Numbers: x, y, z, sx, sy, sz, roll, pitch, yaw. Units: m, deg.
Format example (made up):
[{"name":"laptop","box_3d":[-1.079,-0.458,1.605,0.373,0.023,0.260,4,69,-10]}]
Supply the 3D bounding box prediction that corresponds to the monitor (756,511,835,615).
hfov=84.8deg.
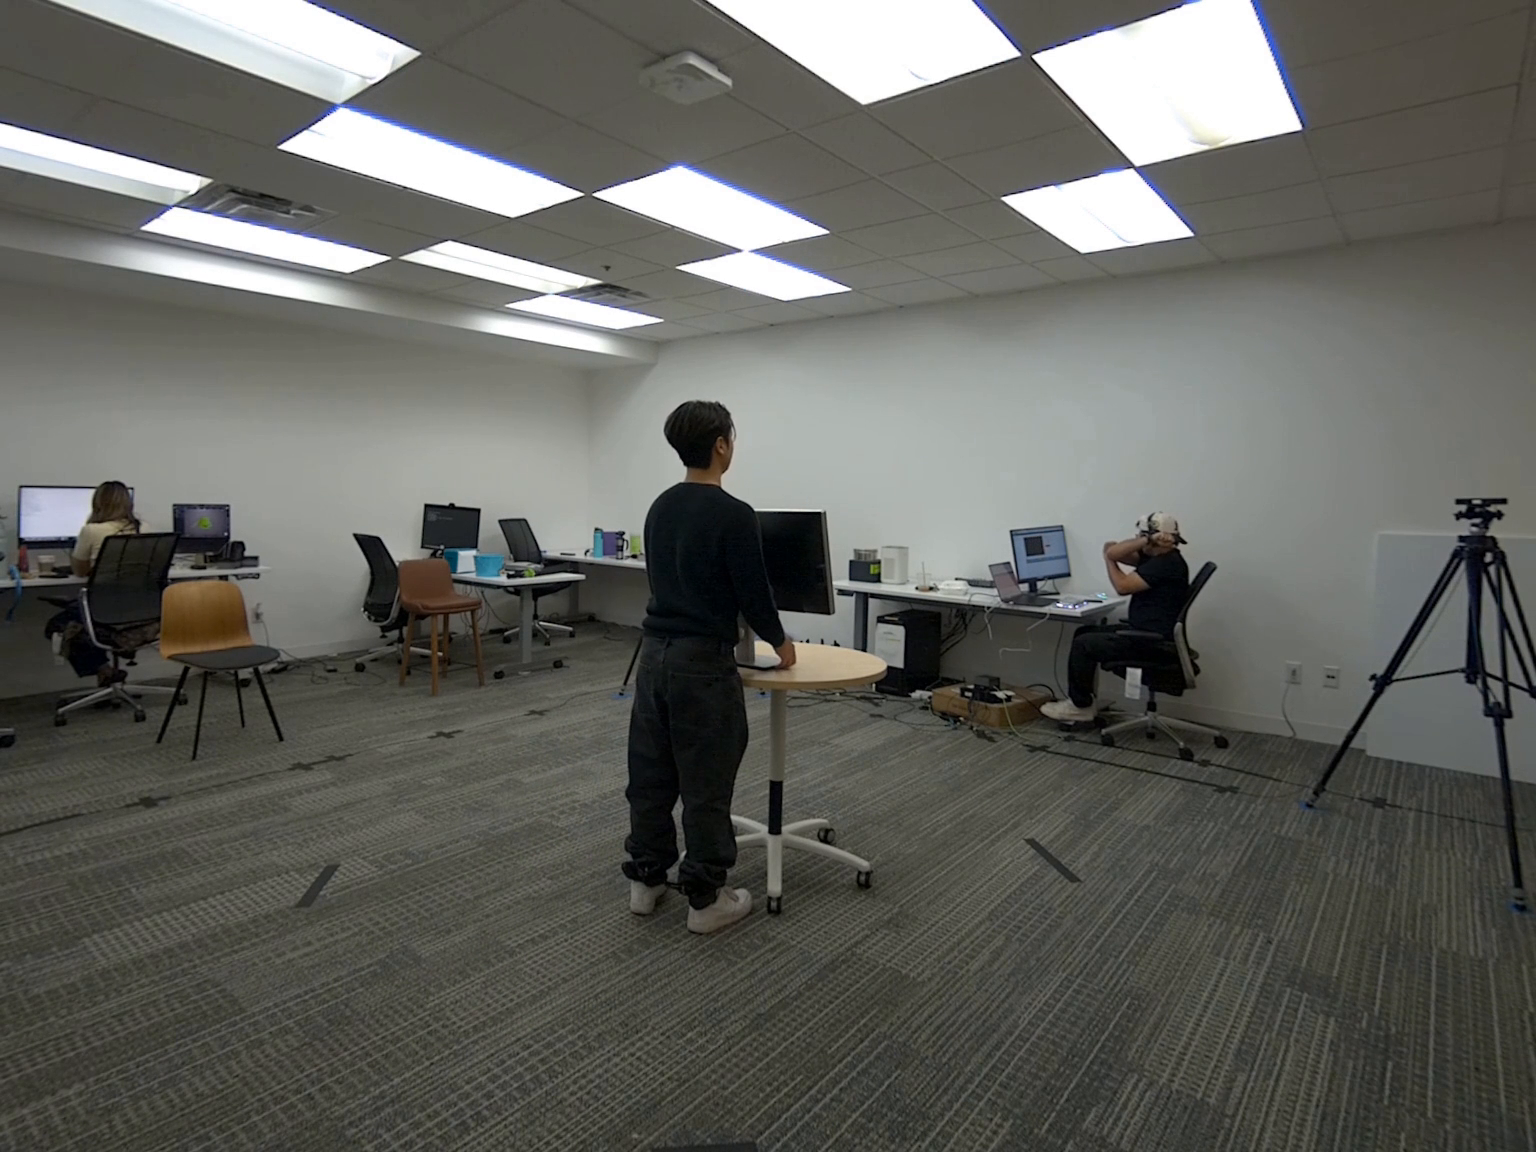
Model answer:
[{"name":"monitor","box_3d":[-0.060,0.033,2.992,0.556,0.521,0.182,3,4,35]}]
